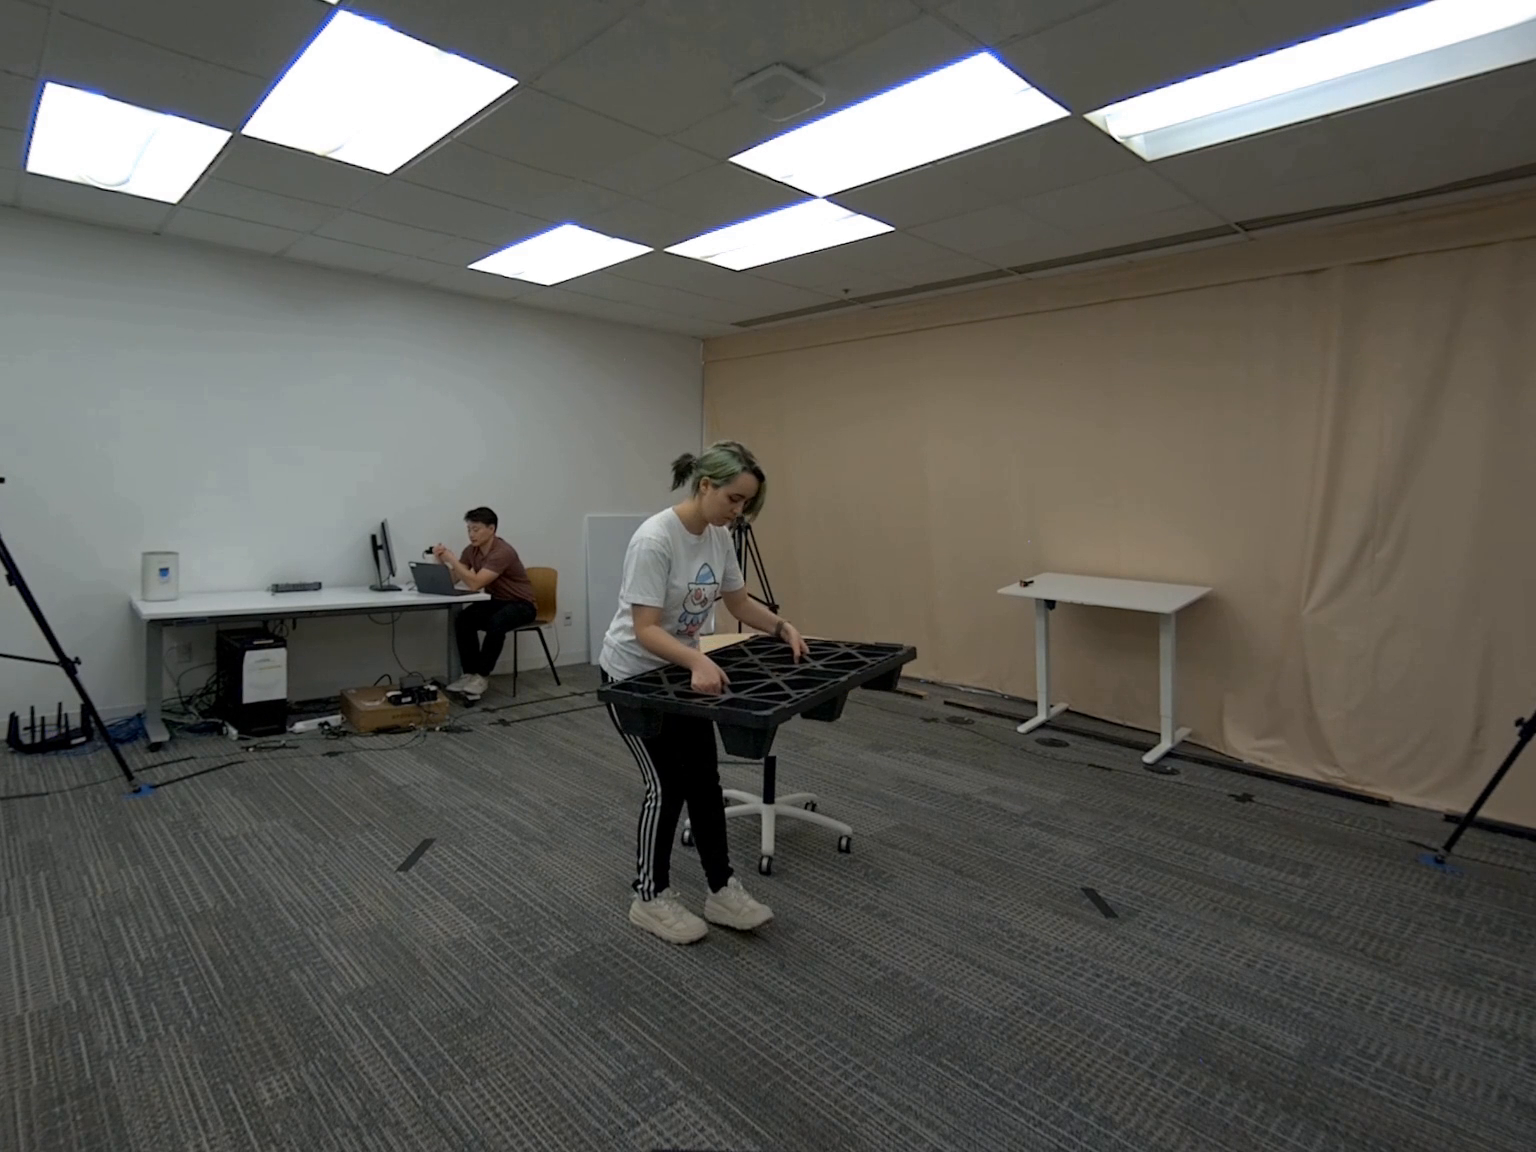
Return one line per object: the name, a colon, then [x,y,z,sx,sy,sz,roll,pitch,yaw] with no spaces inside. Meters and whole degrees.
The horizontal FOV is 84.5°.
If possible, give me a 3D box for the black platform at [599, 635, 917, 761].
black platform: [-0.005,0.338,2.458,0.619,0.142,0.791,2,9,37]
